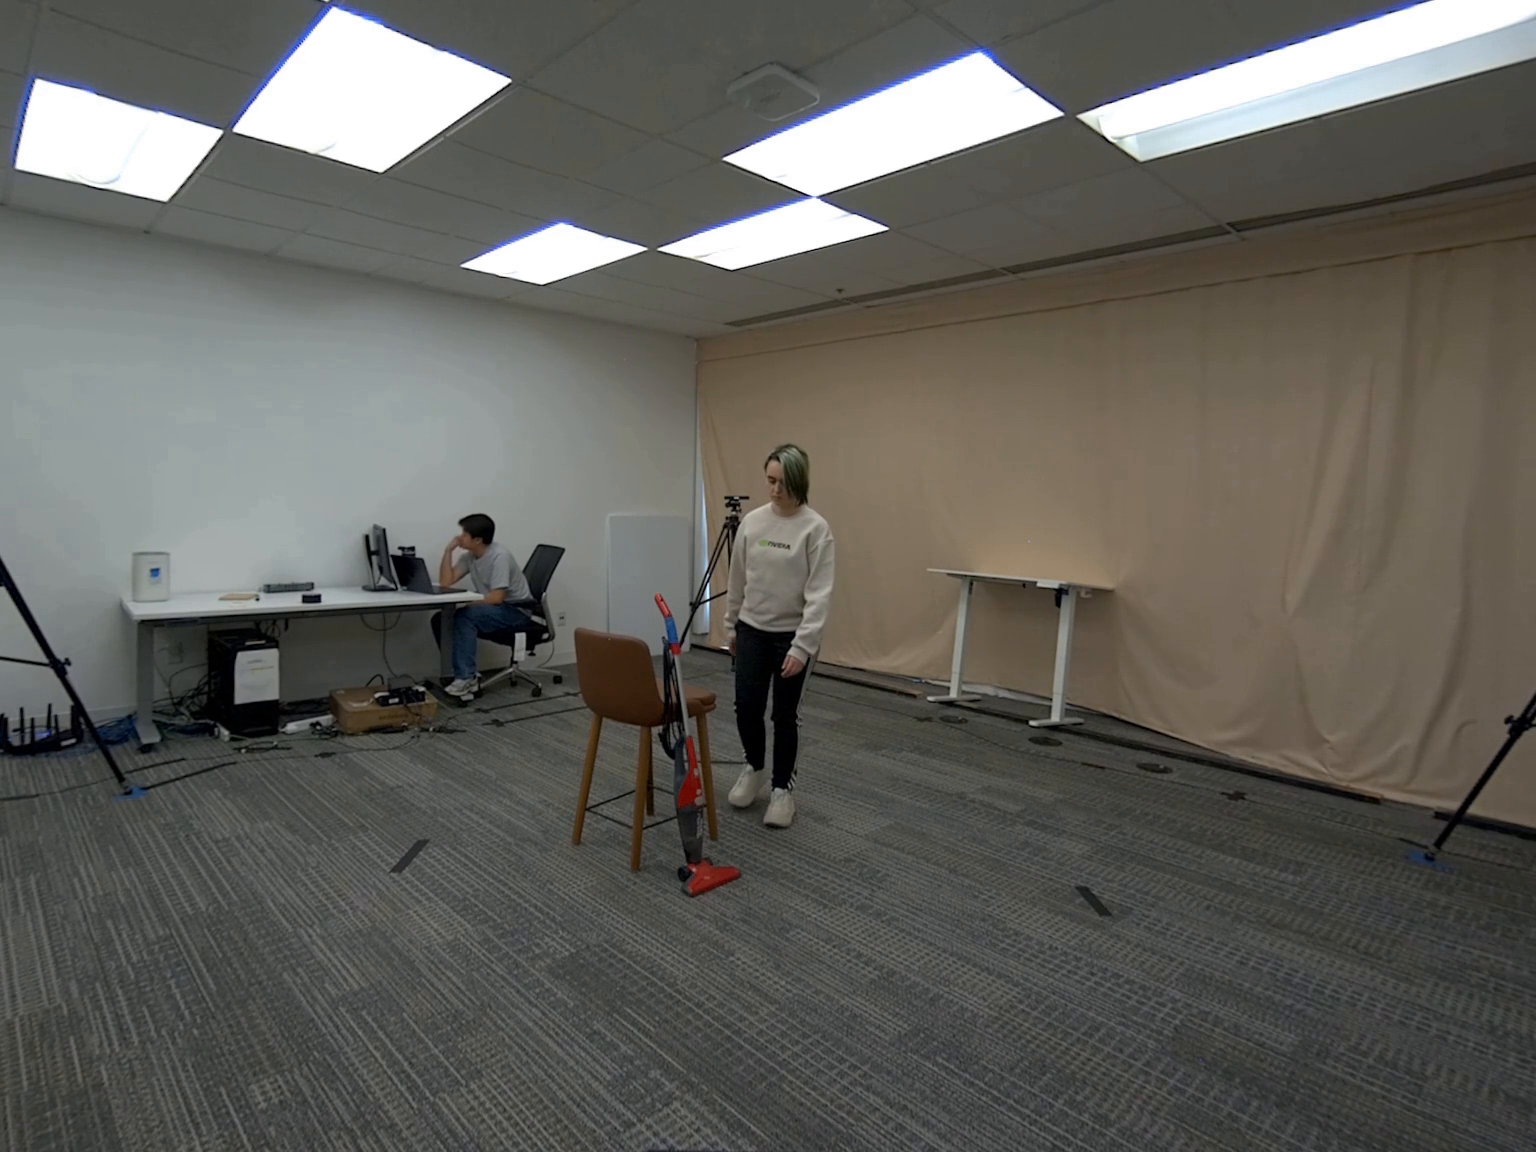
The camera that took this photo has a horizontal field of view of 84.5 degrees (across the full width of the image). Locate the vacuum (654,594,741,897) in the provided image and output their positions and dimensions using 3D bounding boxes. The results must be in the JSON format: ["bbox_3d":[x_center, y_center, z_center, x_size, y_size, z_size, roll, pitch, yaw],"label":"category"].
[{"bbox_3d":[-0.335,0.589,3.125,0.247,1.057,0.146,-3,-11,-39],"label":"vacuum"}]
